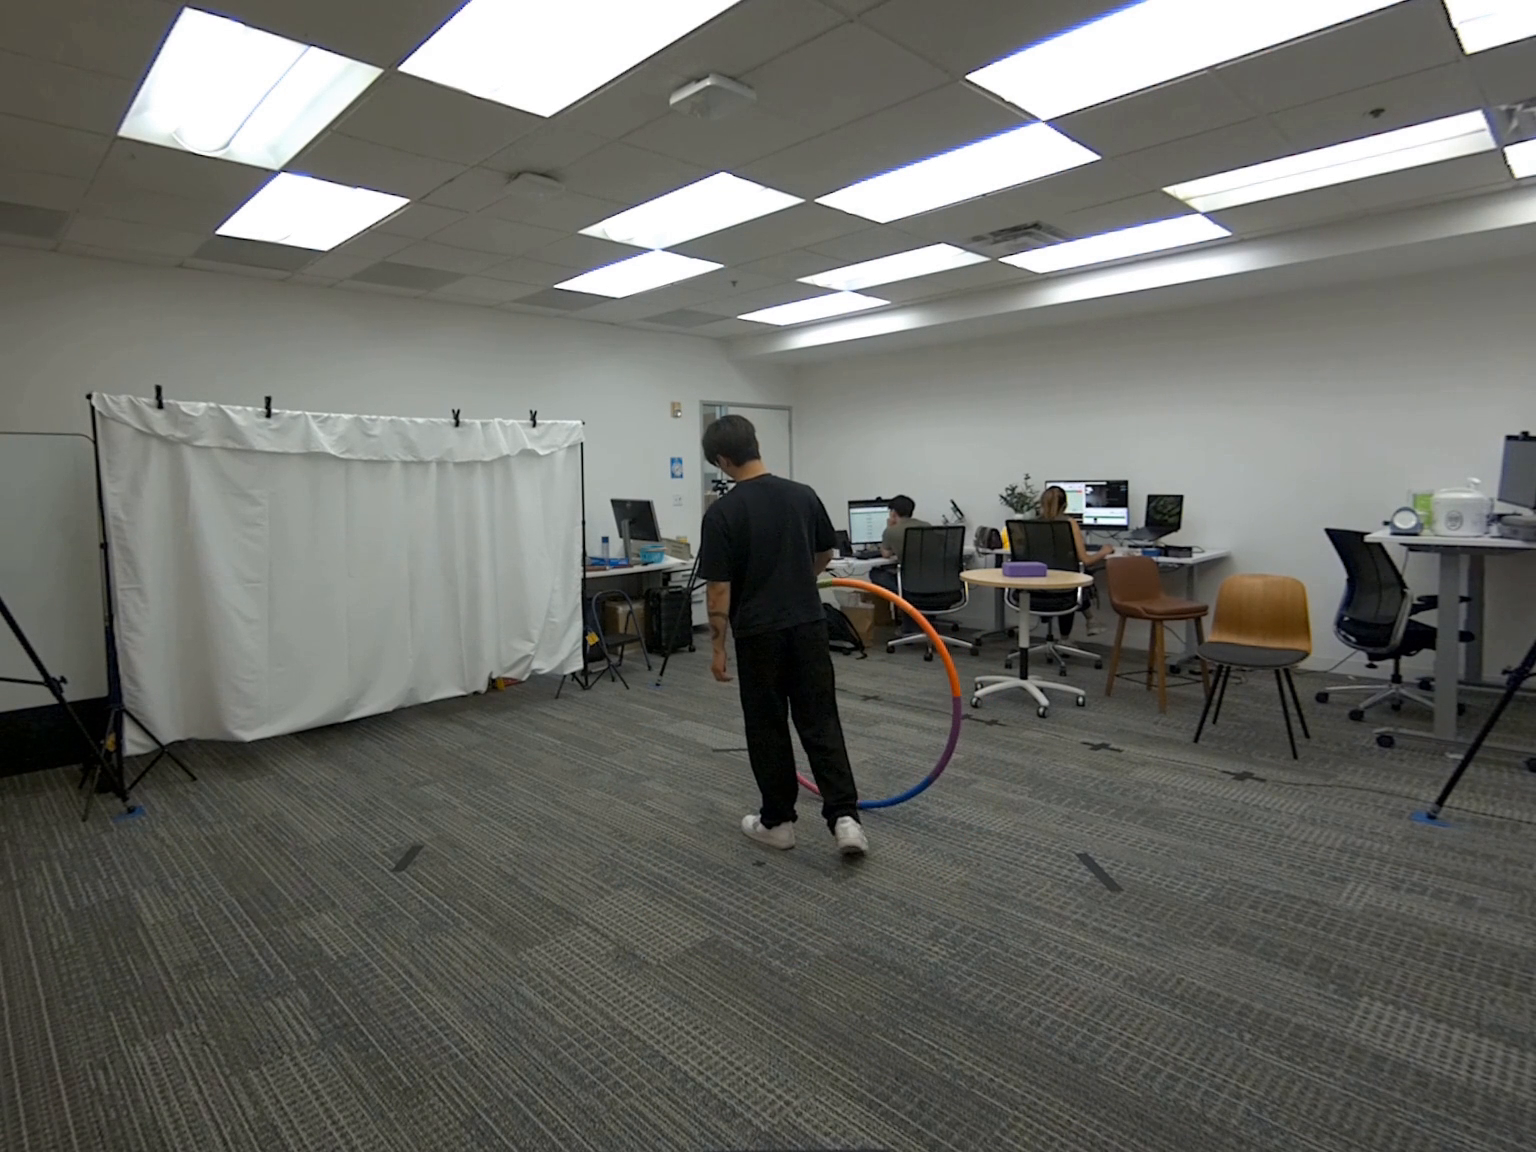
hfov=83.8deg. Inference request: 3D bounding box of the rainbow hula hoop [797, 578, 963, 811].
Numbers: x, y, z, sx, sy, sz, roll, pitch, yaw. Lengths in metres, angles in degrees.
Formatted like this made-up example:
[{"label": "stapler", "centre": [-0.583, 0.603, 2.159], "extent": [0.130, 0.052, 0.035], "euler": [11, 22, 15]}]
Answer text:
[{"label": "rainbow hula hoop", "centre": [0.327, 0.499, 3.605], "extent": [1.006, 0.974, 0.035], "euler": [2, 5, 34]}]
